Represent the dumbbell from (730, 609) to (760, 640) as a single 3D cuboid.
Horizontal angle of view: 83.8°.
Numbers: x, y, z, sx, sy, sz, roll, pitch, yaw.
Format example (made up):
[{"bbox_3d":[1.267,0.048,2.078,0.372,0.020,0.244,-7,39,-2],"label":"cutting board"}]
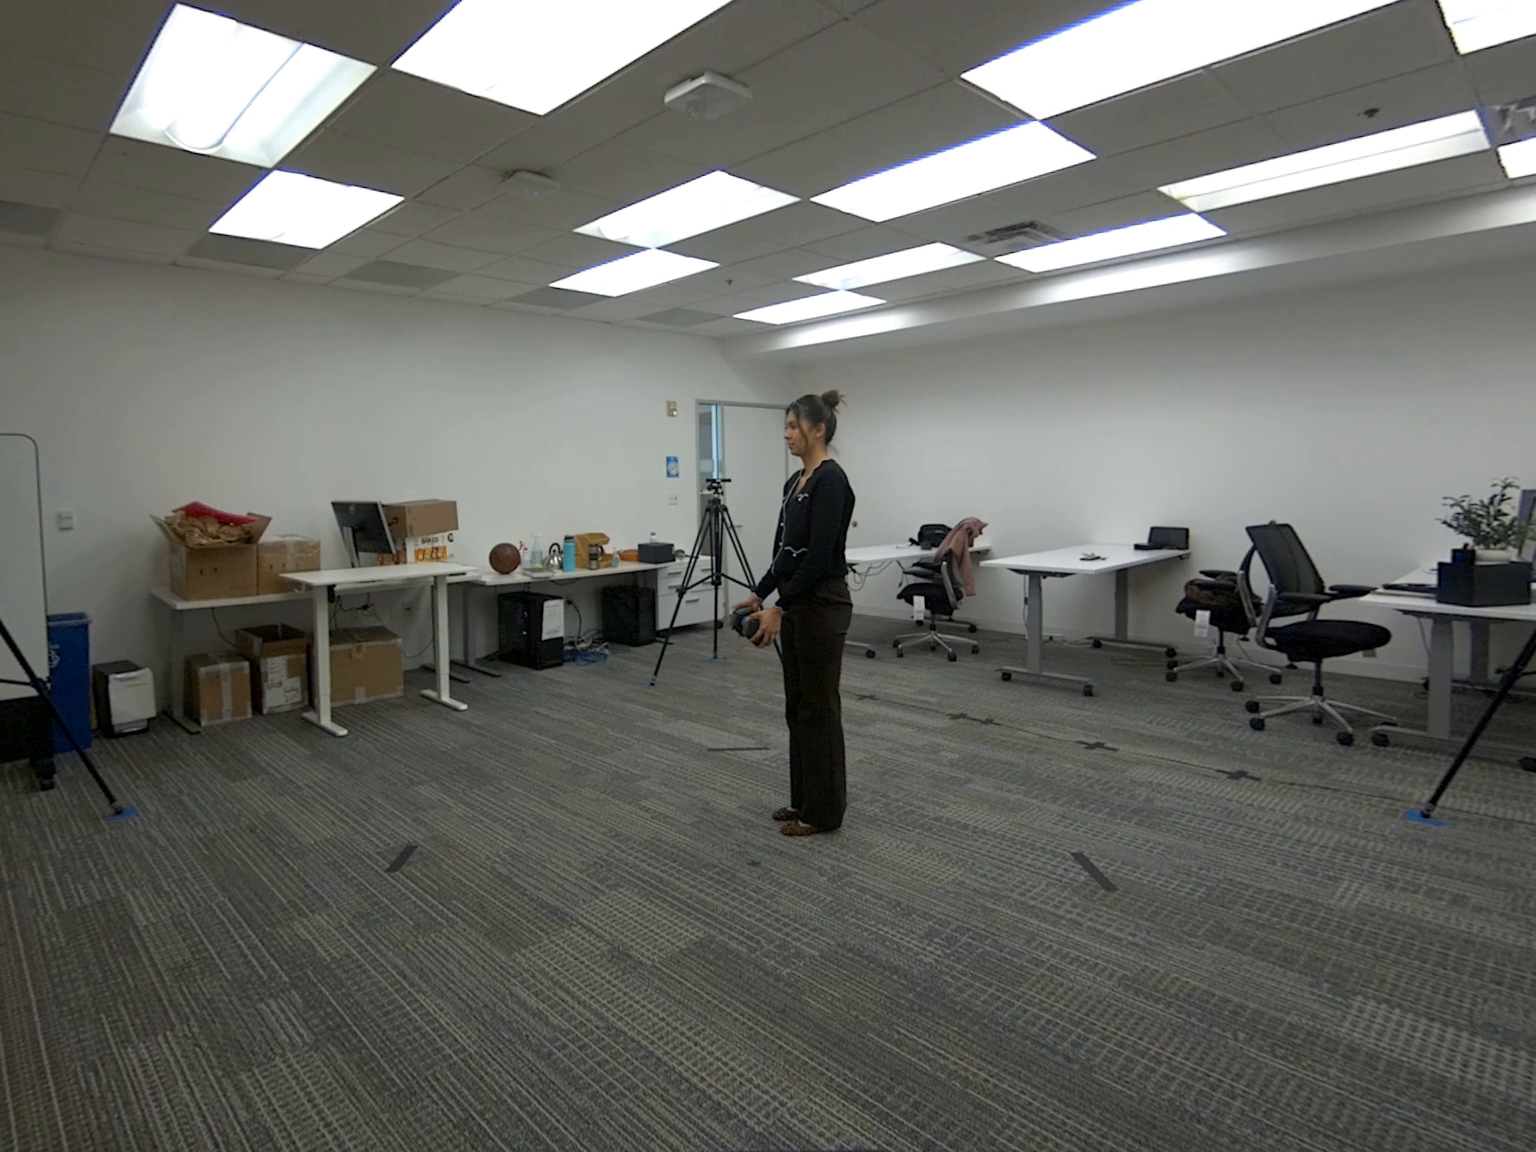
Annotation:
[{"bbox_3d":[-0.062,0.189,3.374,0.107,0.123,0.297,12,2,-12],"label":"dumbbell"}]
